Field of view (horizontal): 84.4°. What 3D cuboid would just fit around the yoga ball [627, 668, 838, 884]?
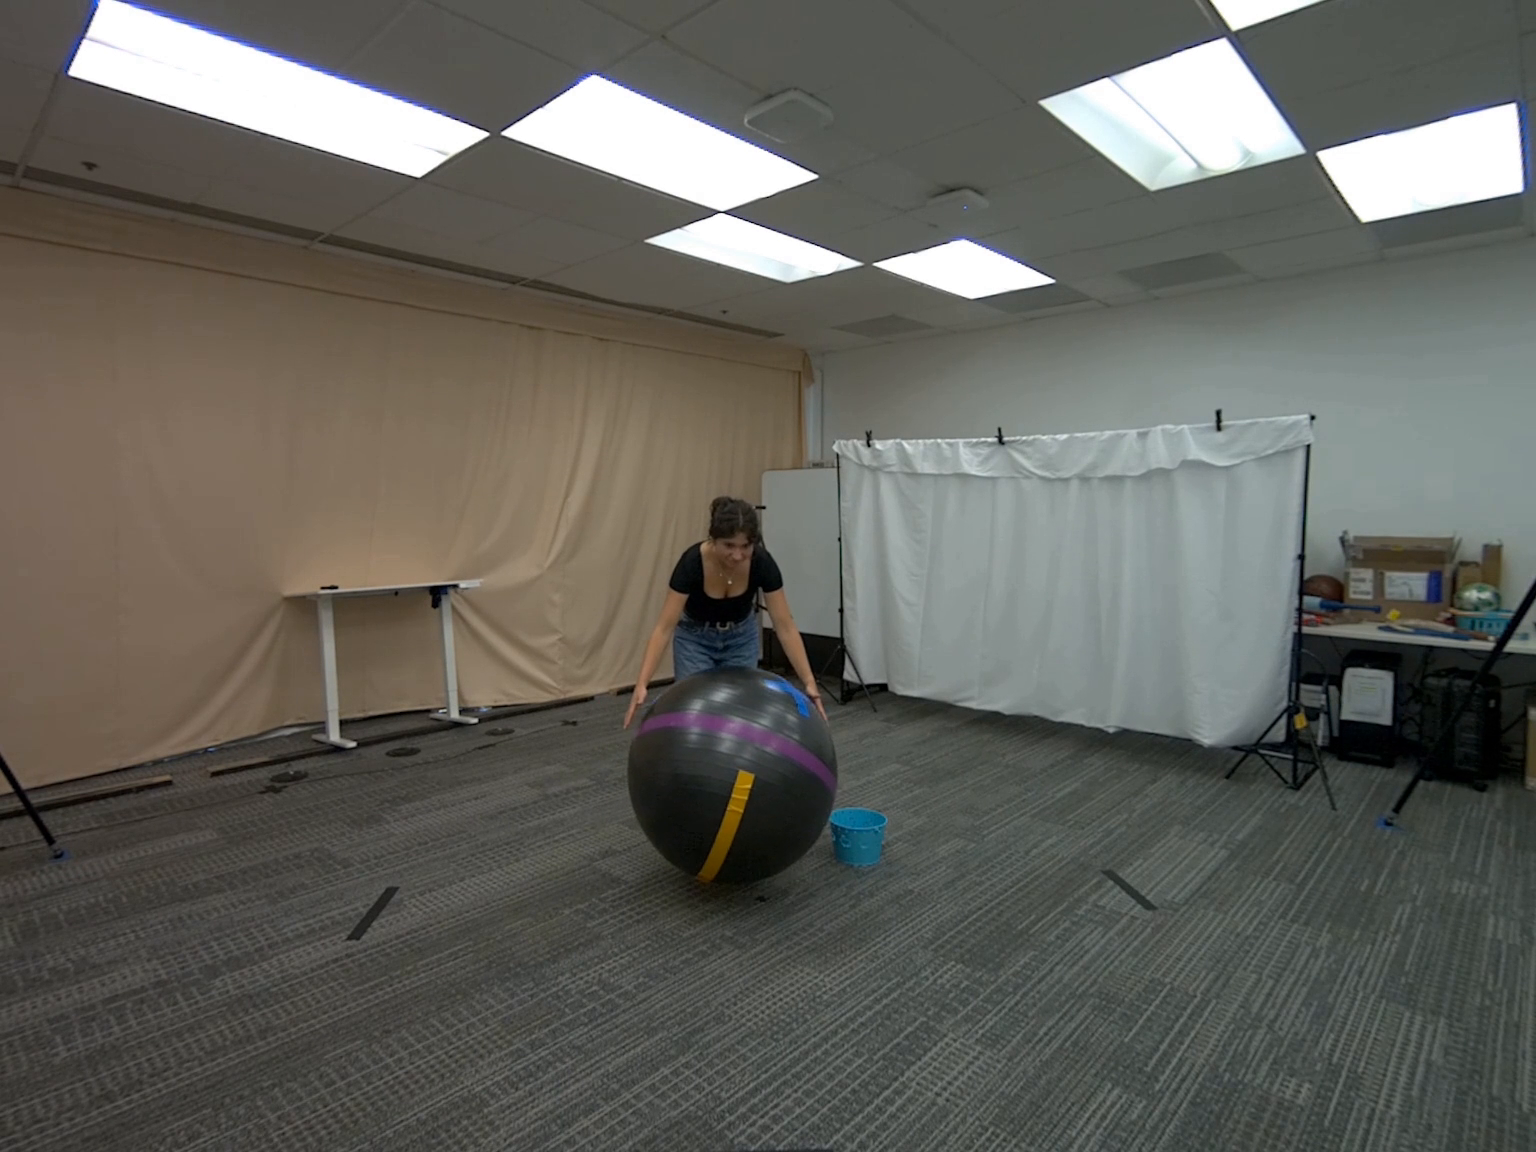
[{"bbox_3d":[-0.134,0.734,3.028,0.757,0.756,0.760,0,4,-2],"label":"yoga ball"}]
